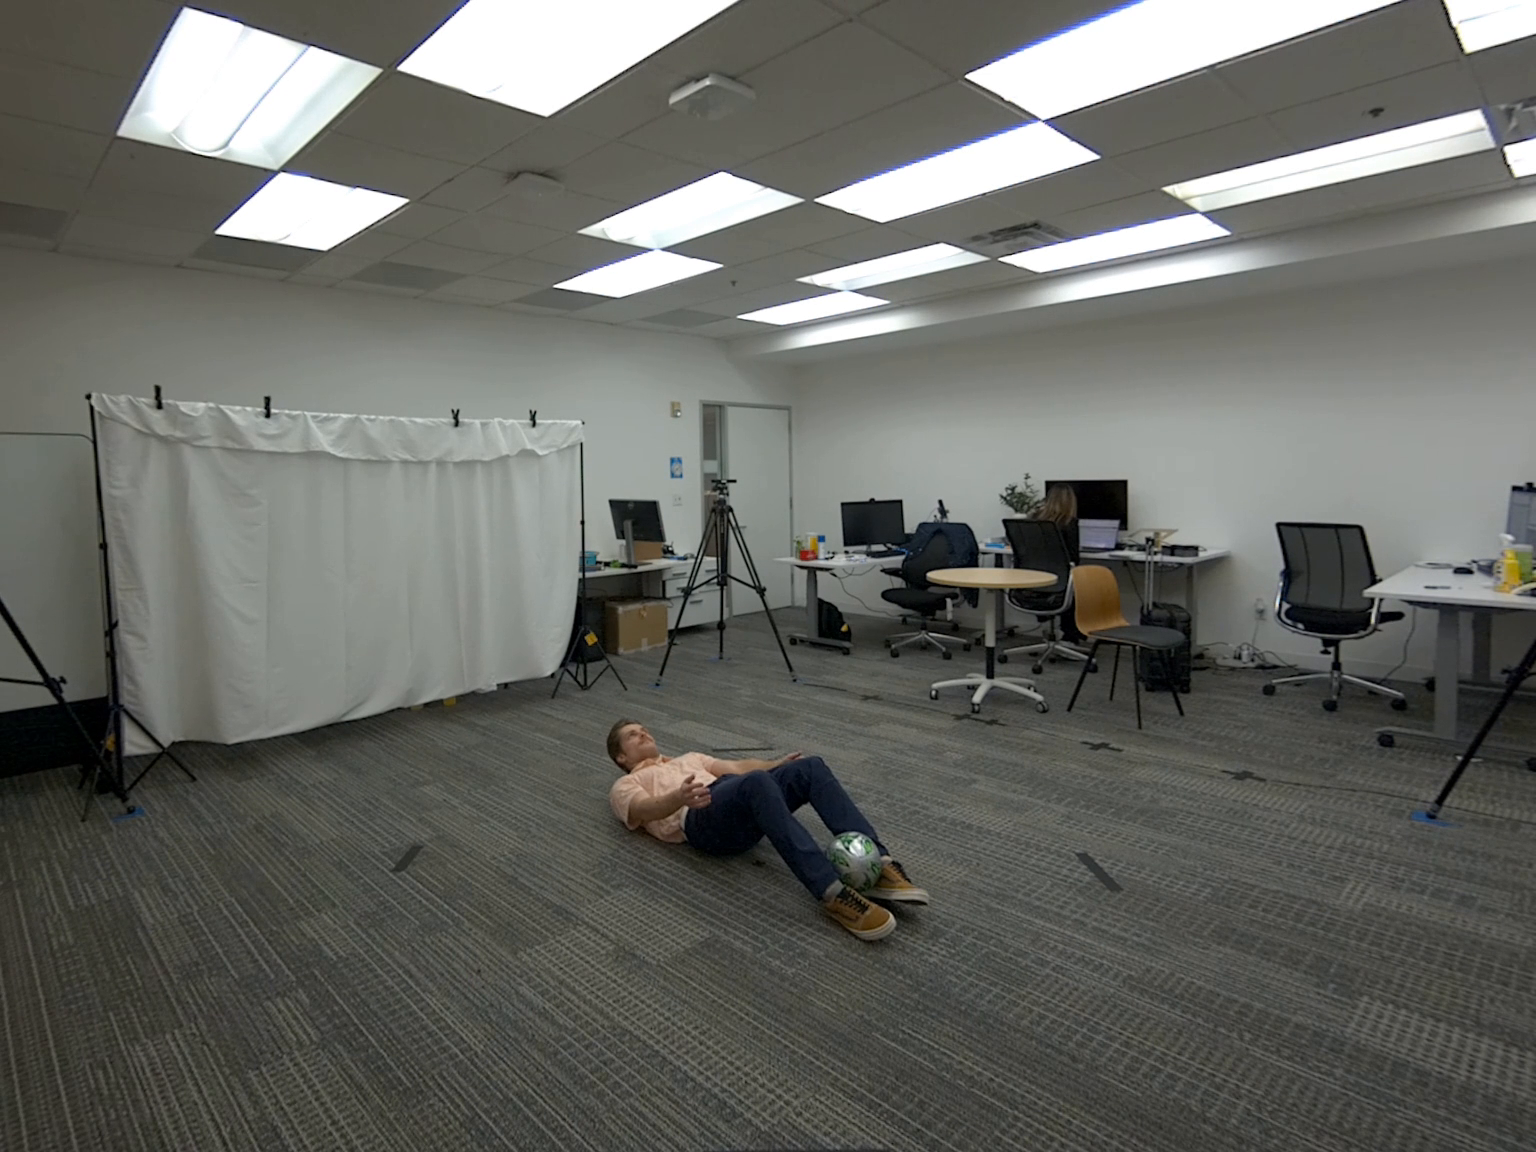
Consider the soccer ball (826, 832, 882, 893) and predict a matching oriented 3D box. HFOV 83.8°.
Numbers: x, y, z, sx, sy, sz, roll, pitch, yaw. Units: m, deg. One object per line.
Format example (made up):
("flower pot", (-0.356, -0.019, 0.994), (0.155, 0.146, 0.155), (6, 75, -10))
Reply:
("soccer ball", (0.265, 0.932, 2.784), (0.187, 0.187, 0.188), (-1, 5, -2))
